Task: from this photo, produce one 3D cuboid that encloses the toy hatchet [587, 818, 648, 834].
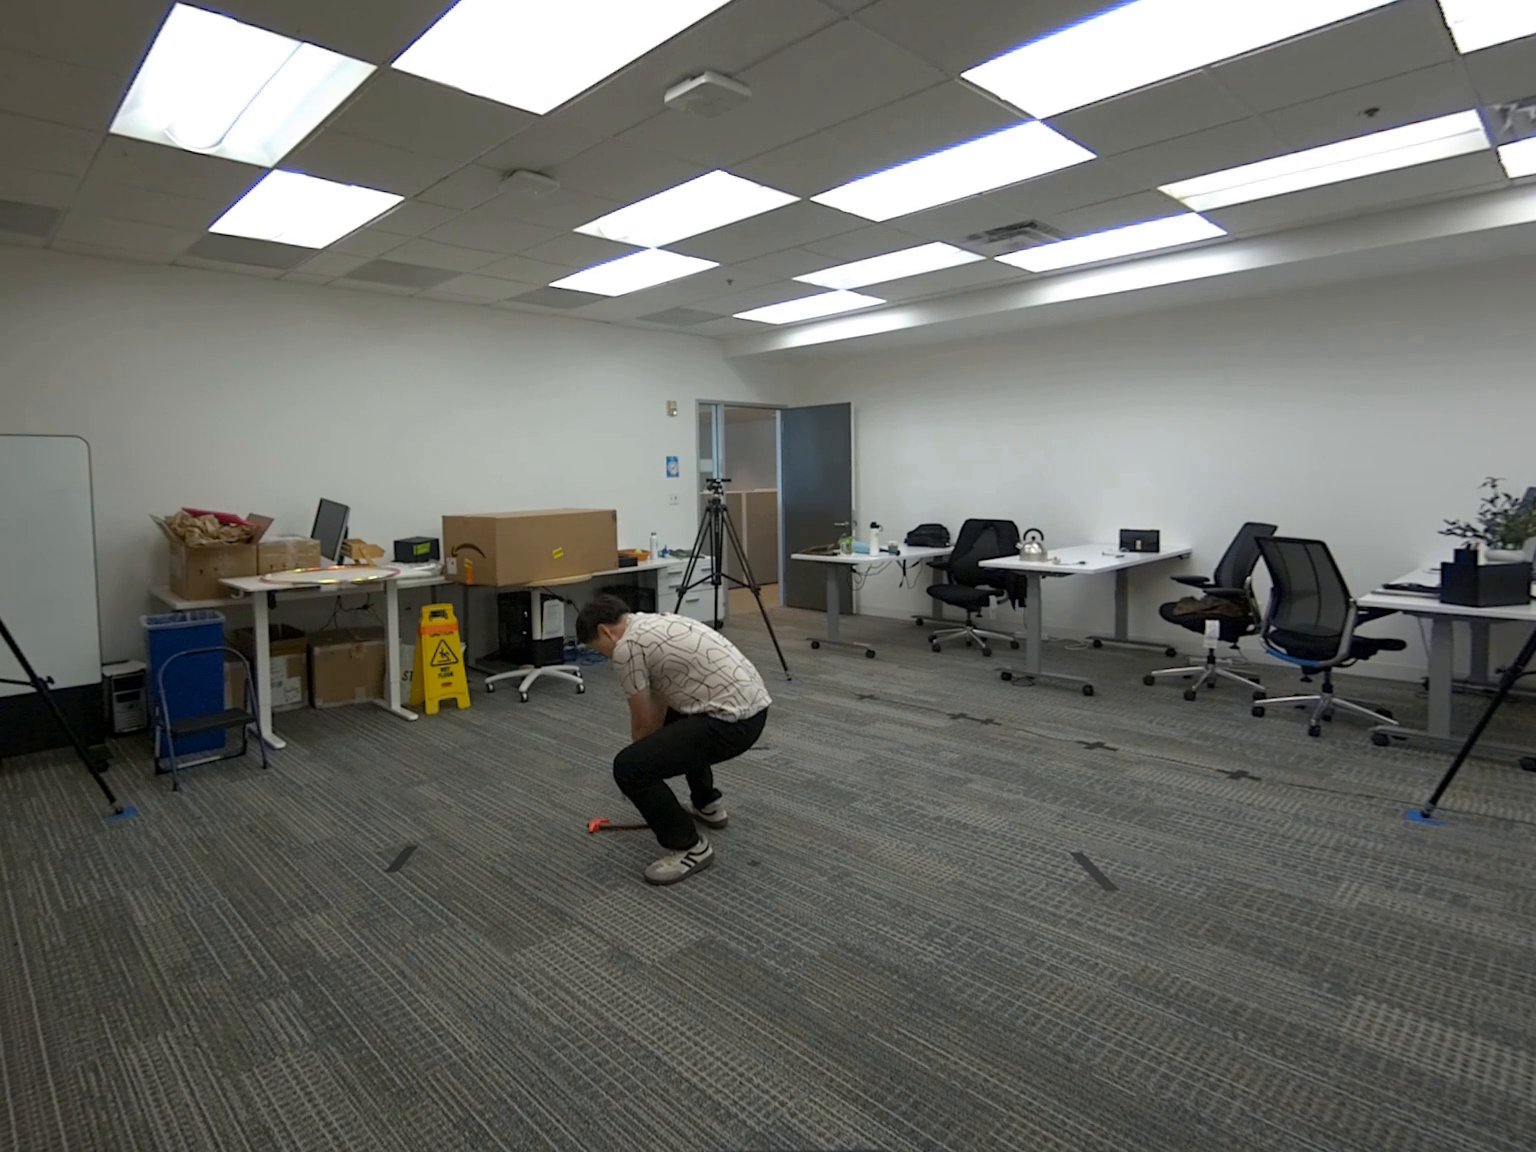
[{"bbox_3d":[-0.590,1.000,3.464,0.266,0.029,0.133,-1,2,-16],"label":"toy hatchet"}]
